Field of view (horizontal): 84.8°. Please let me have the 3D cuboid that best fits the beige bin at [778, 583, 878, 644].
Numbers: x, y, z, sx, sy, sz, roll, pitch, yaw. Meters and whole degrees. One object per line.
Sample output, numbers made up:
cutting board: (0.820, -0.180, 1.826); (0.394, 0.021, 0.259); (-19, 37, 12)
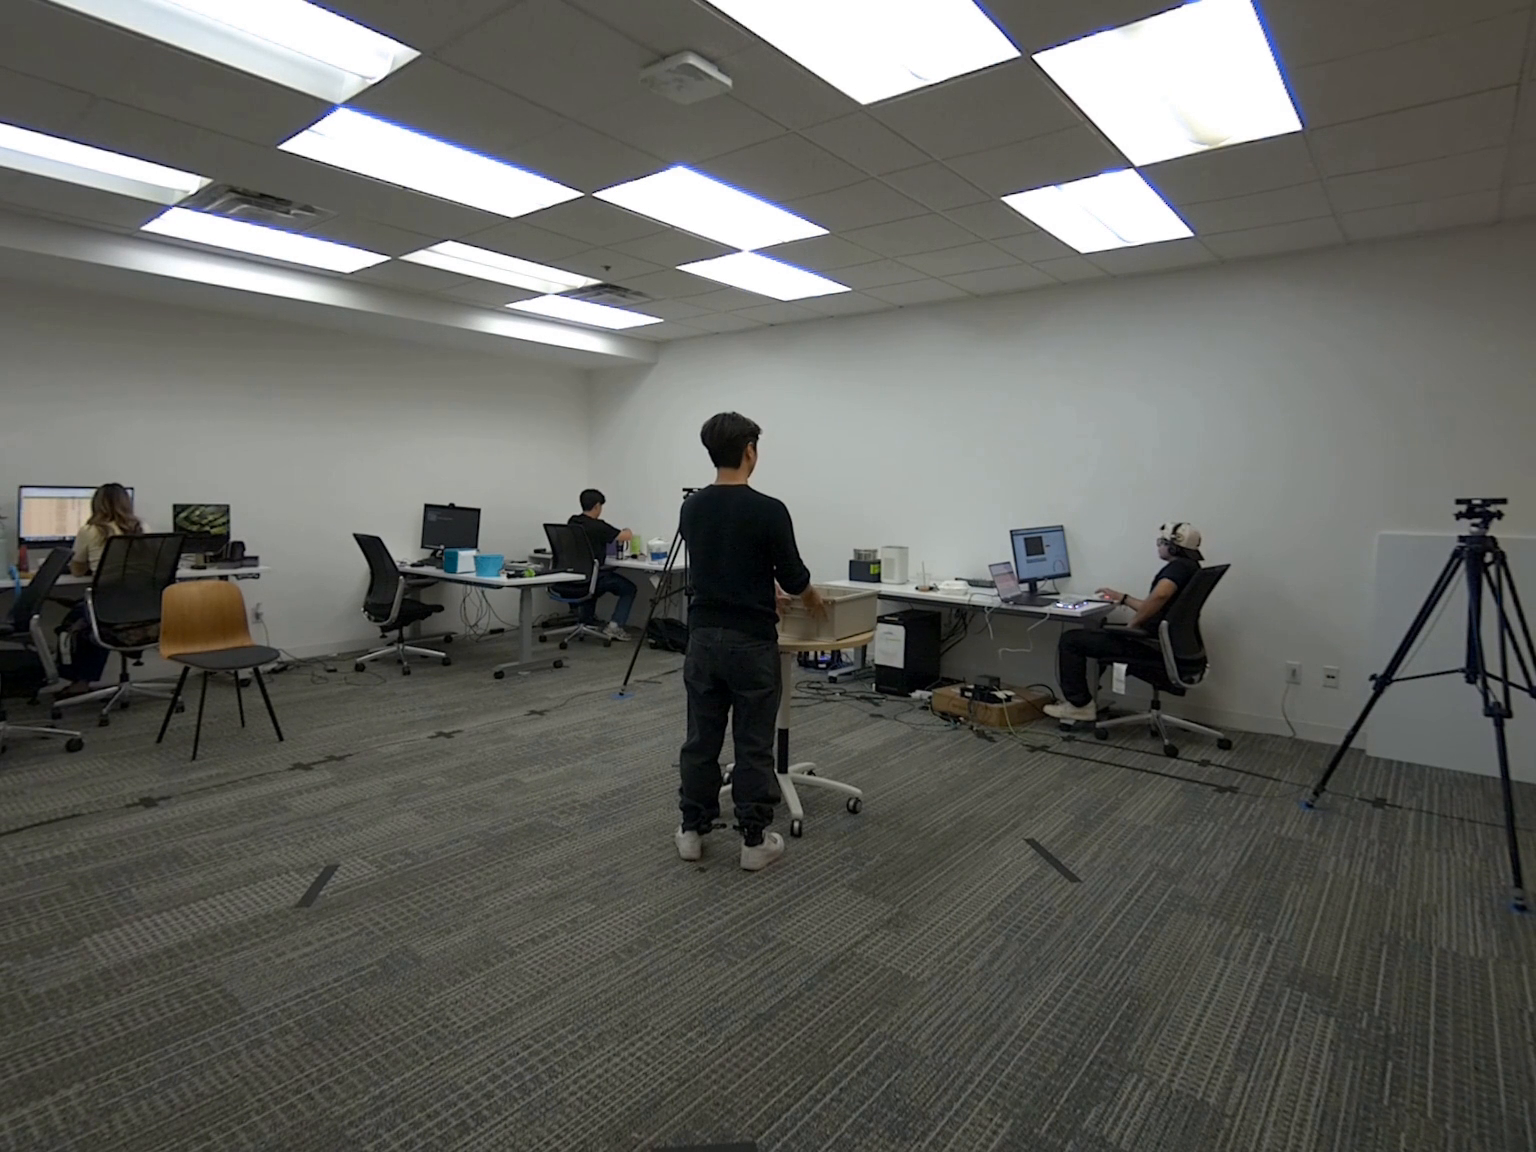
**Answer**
beige bin: (0.219, 0.151, 3.671); (0.389, 0.188, 0.410); (5, 6, 34)
